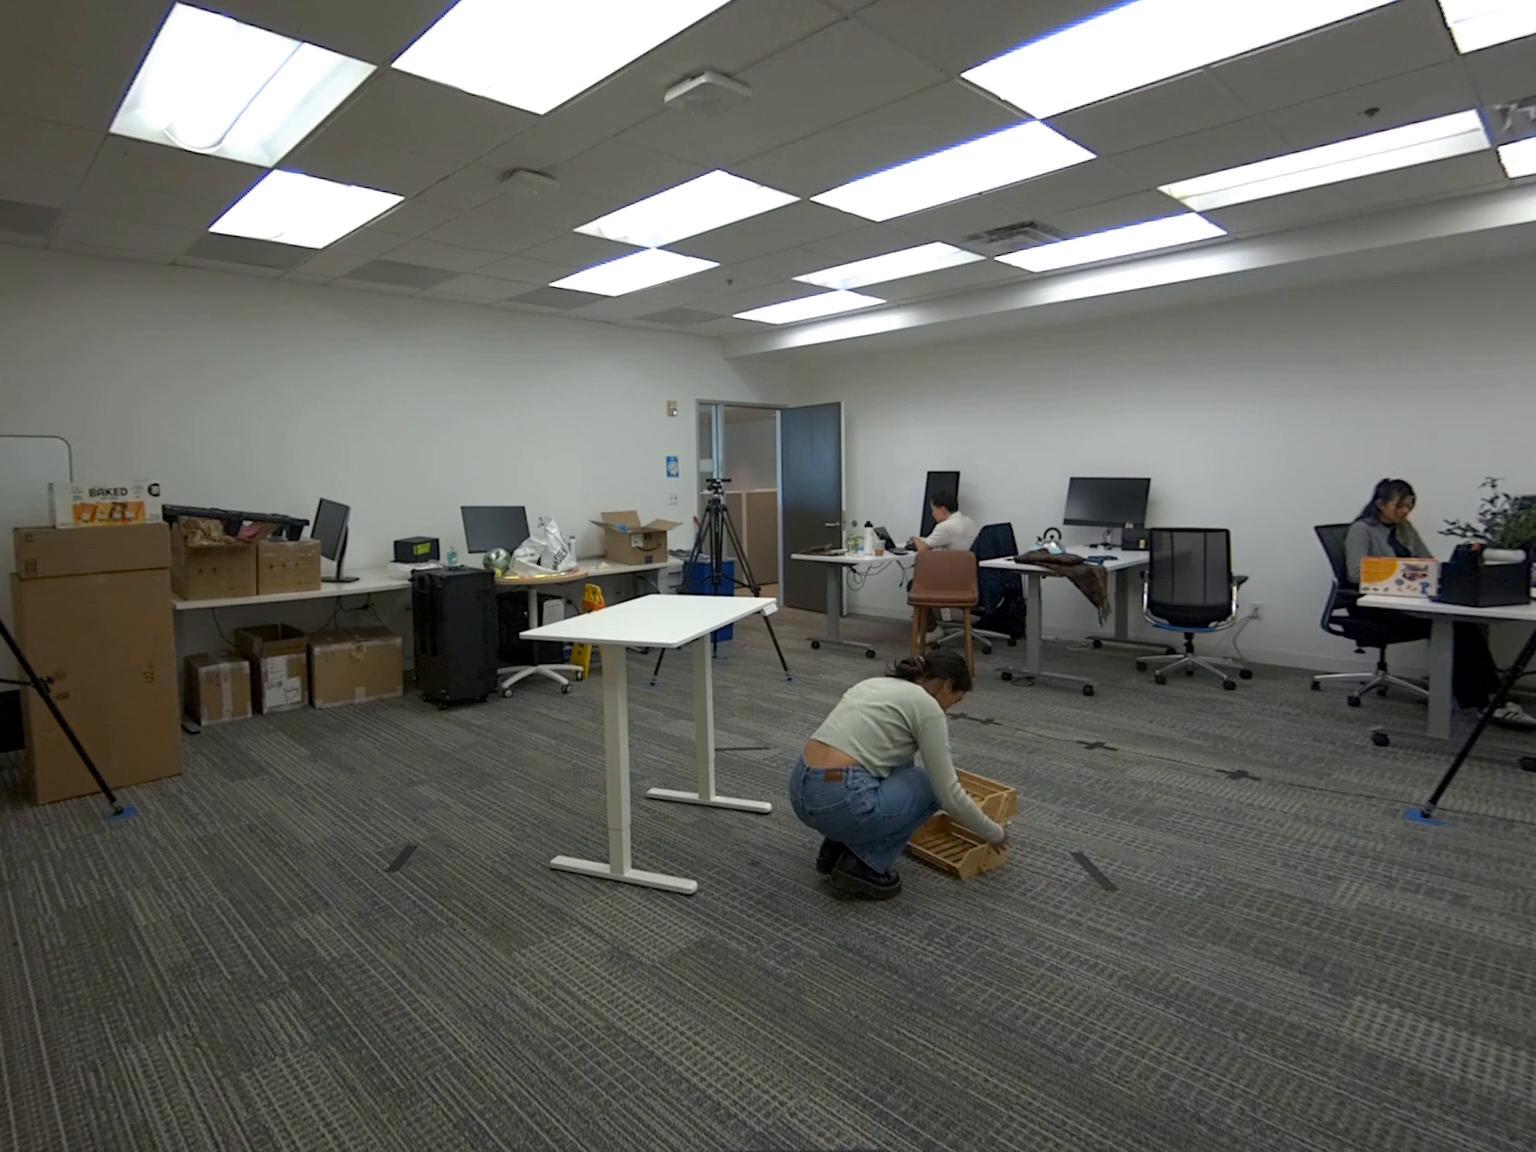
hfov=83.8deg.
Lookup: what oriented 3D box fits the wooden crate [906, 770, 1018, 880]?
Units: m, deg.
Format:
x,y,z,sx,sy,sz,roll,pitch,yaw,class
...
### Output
x,y,z,sx,sy,sz,roll,pitch,yaw,class
0.695,0.892,3.138,0.294,0.272,0.333,-4,5,-34,wooden crate
